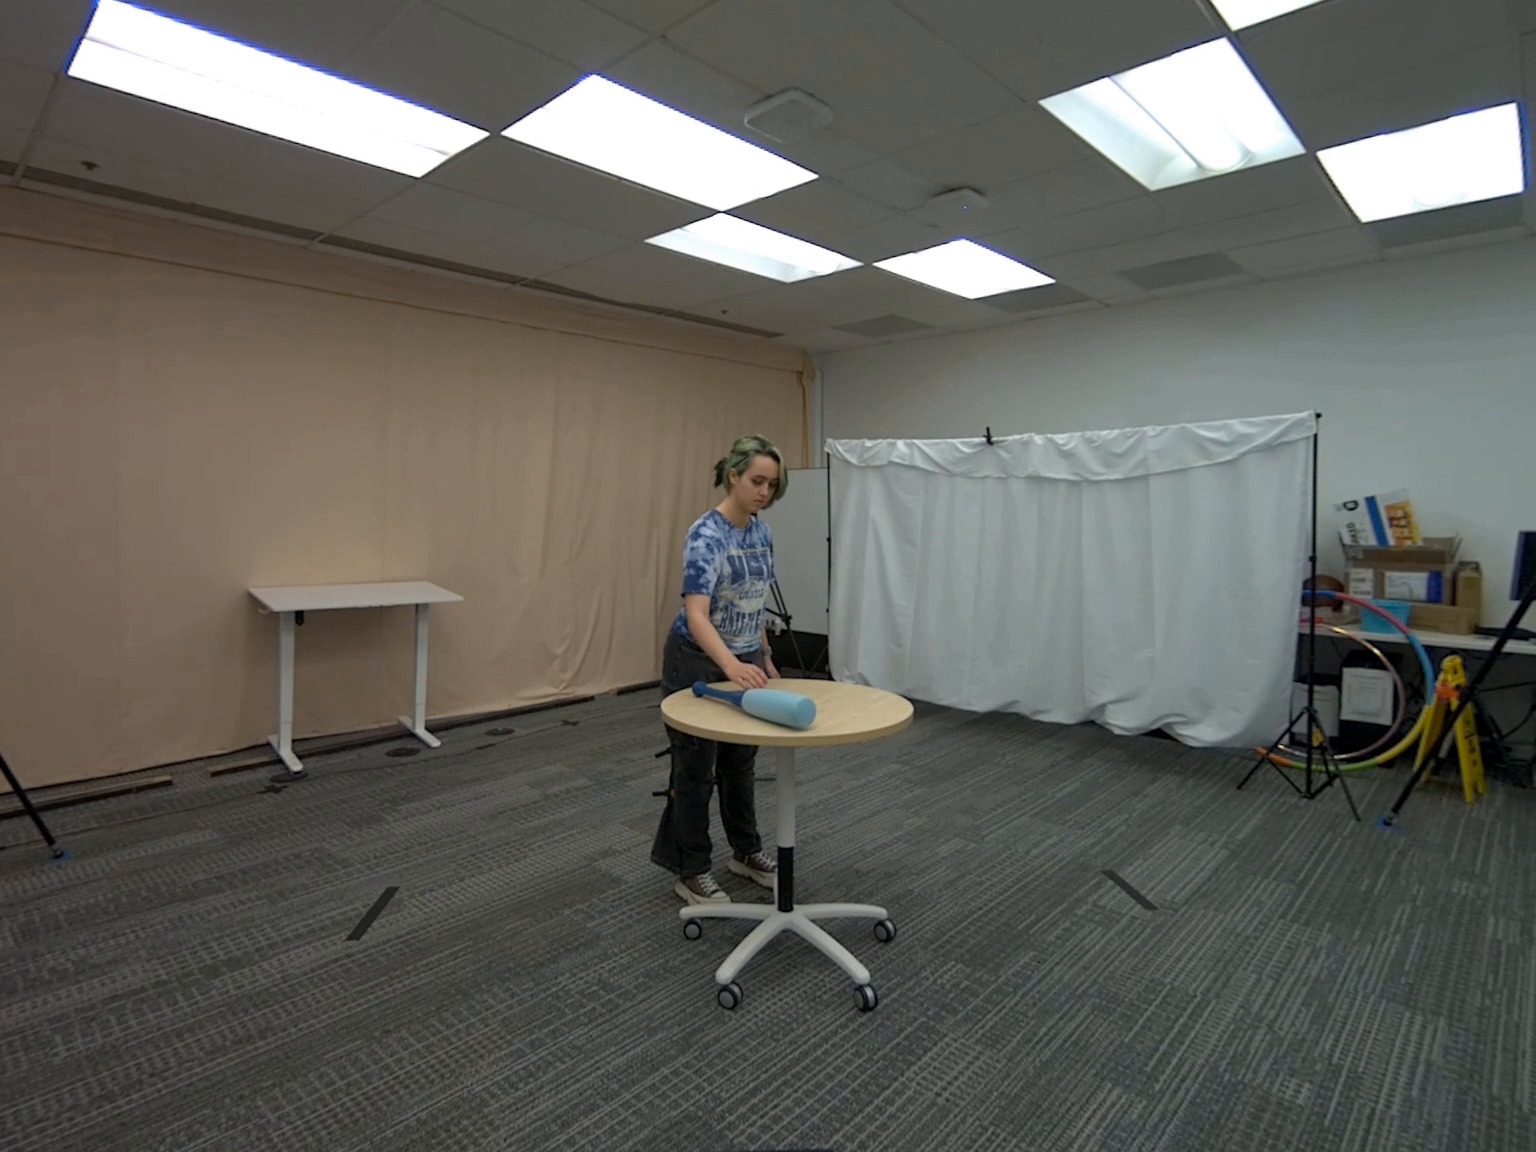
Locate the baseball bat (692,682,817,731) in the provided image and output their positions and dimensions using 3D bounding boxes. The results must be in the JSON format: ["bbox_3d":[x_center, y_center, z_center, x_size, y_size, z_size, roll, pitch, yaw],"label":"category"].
[{"bbox_3d":[-0.056,0.366,2.469,0.086,0.089,0.559,-2,1,-35],"label":"baseball bat"}]
